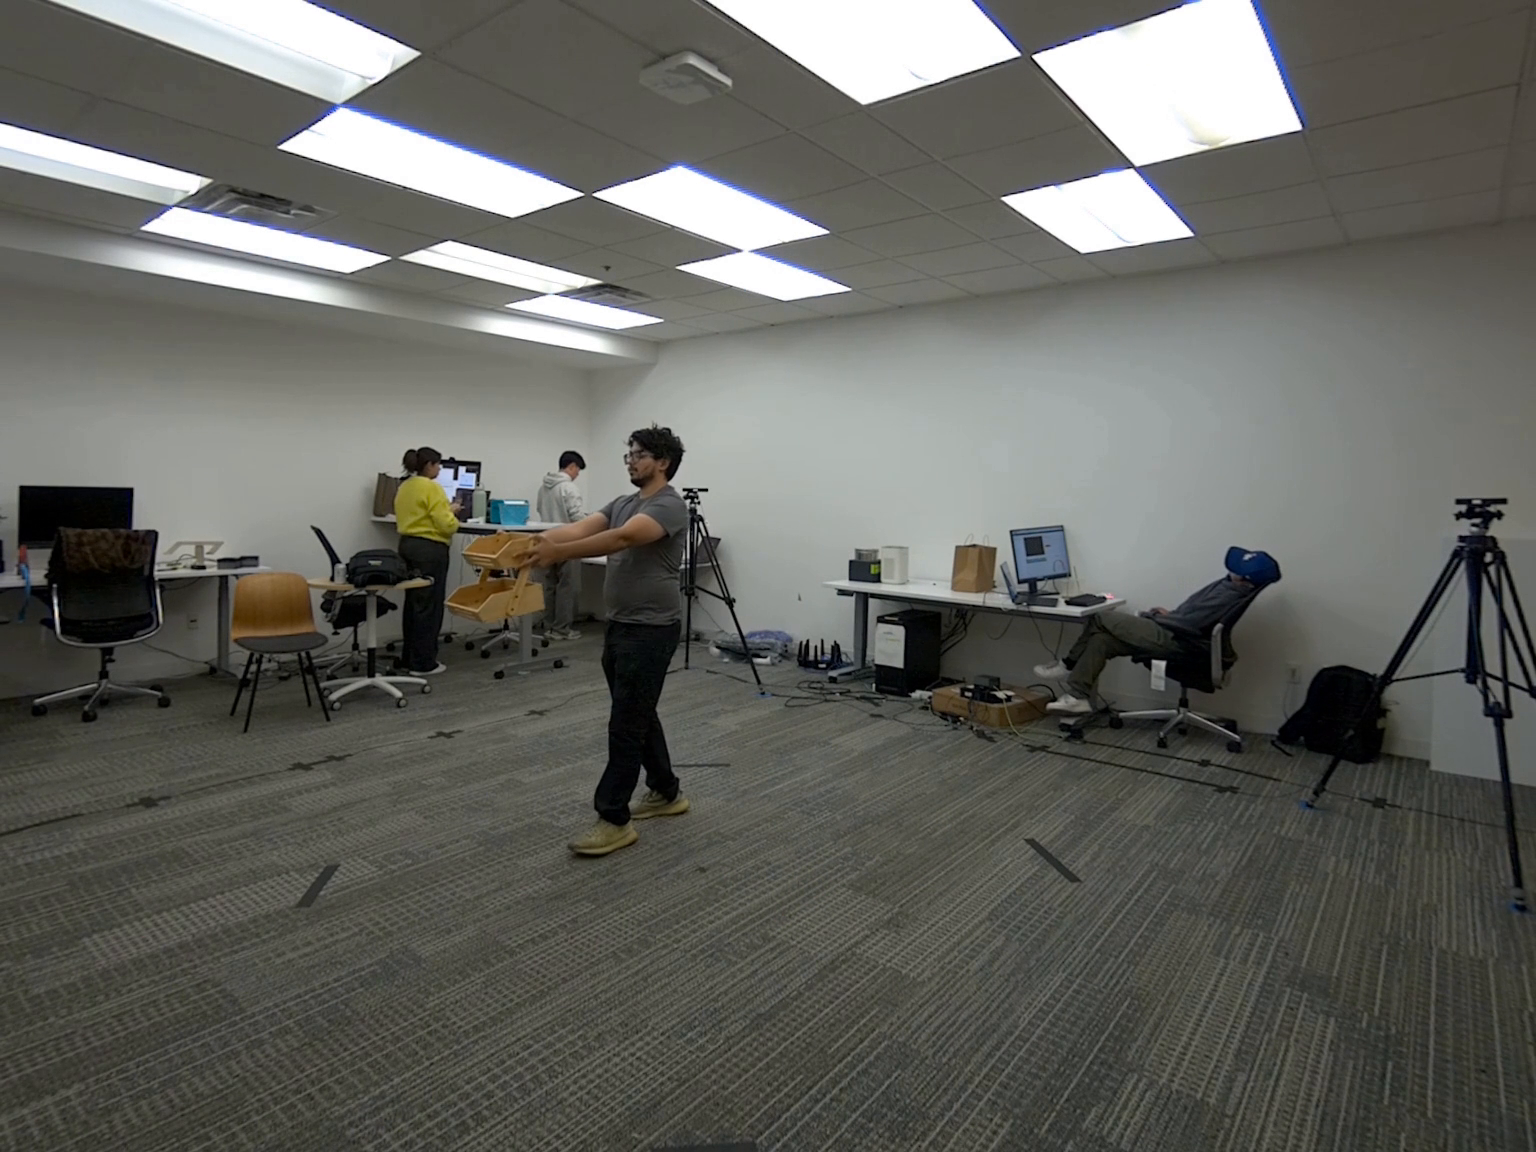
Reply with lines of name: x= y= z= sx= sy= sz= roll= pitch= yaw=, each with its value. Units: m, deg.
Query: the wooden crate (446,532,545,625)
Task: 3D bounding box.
wooden crate: x=-0.999 y=-0.009 z=3.069 sx=0.294 sy=0.271 sz=0.335 roll=-11 pitch=11 yaw=-40
